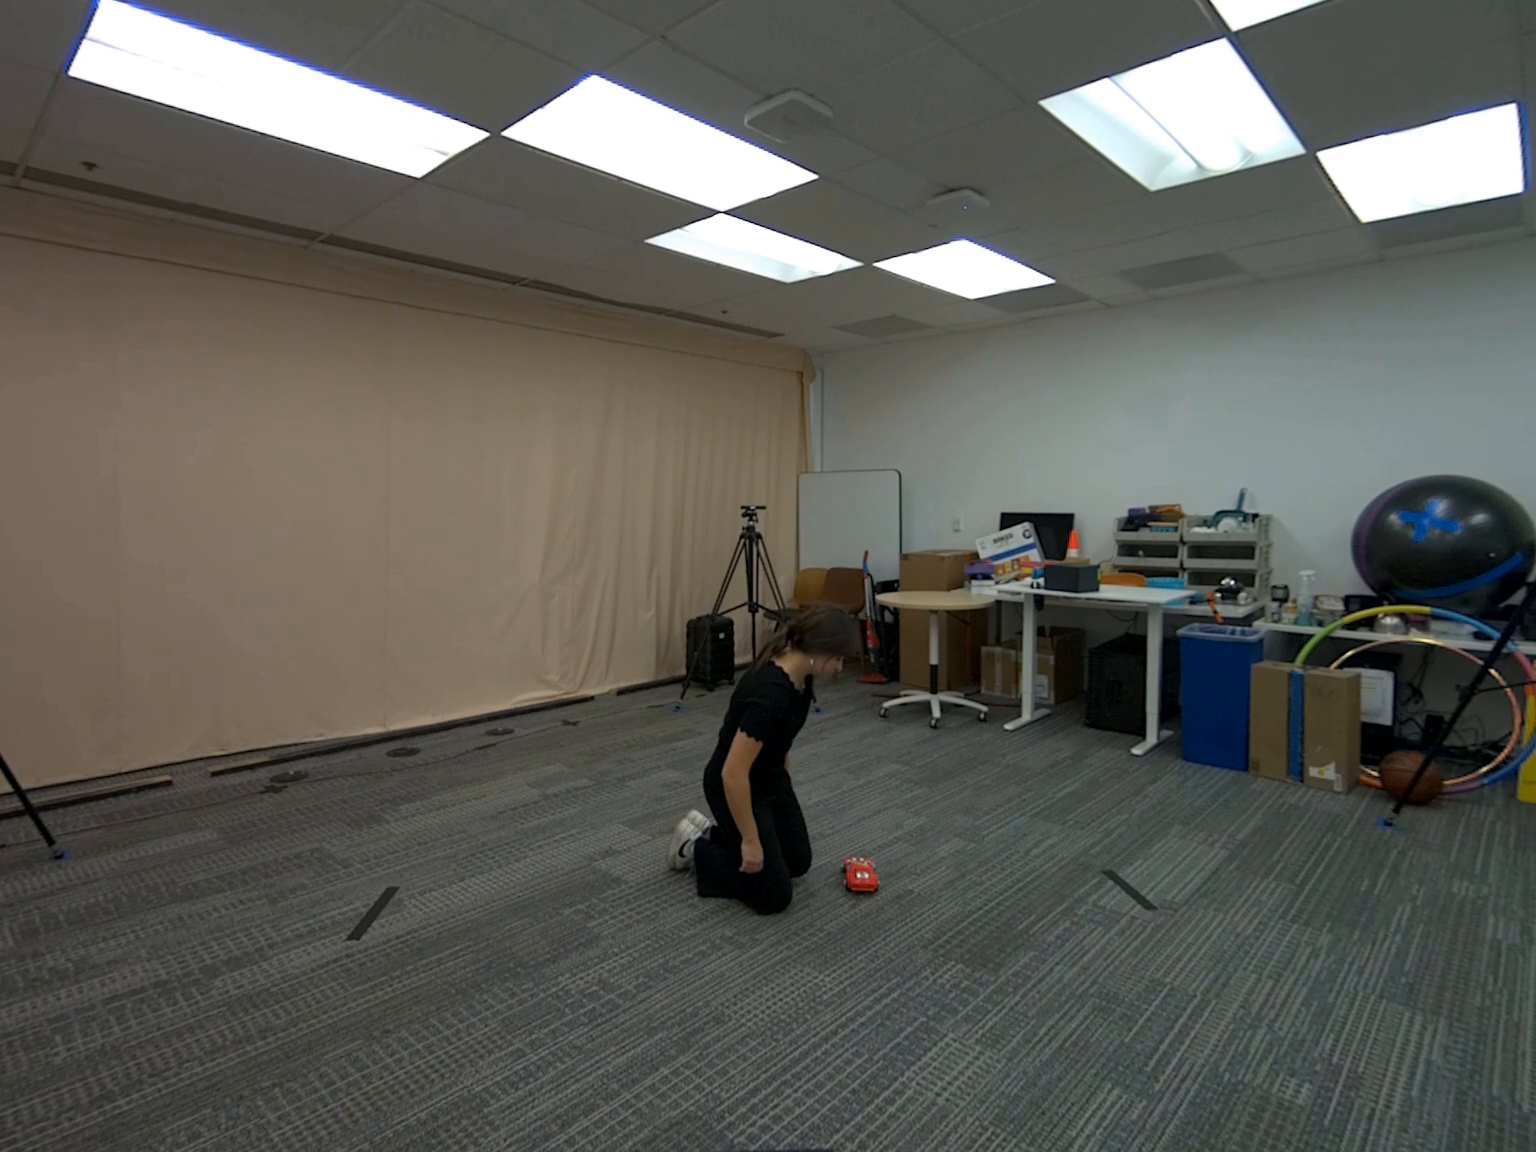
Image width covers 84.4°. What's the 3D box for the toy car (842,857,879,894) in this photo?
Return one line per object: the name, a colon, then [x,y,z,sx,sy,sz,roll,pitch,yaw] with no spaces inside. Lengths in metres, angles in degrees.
toy car: [0.343,1.101,3.092,0.130,0.083,0.253,1,-6,1]
